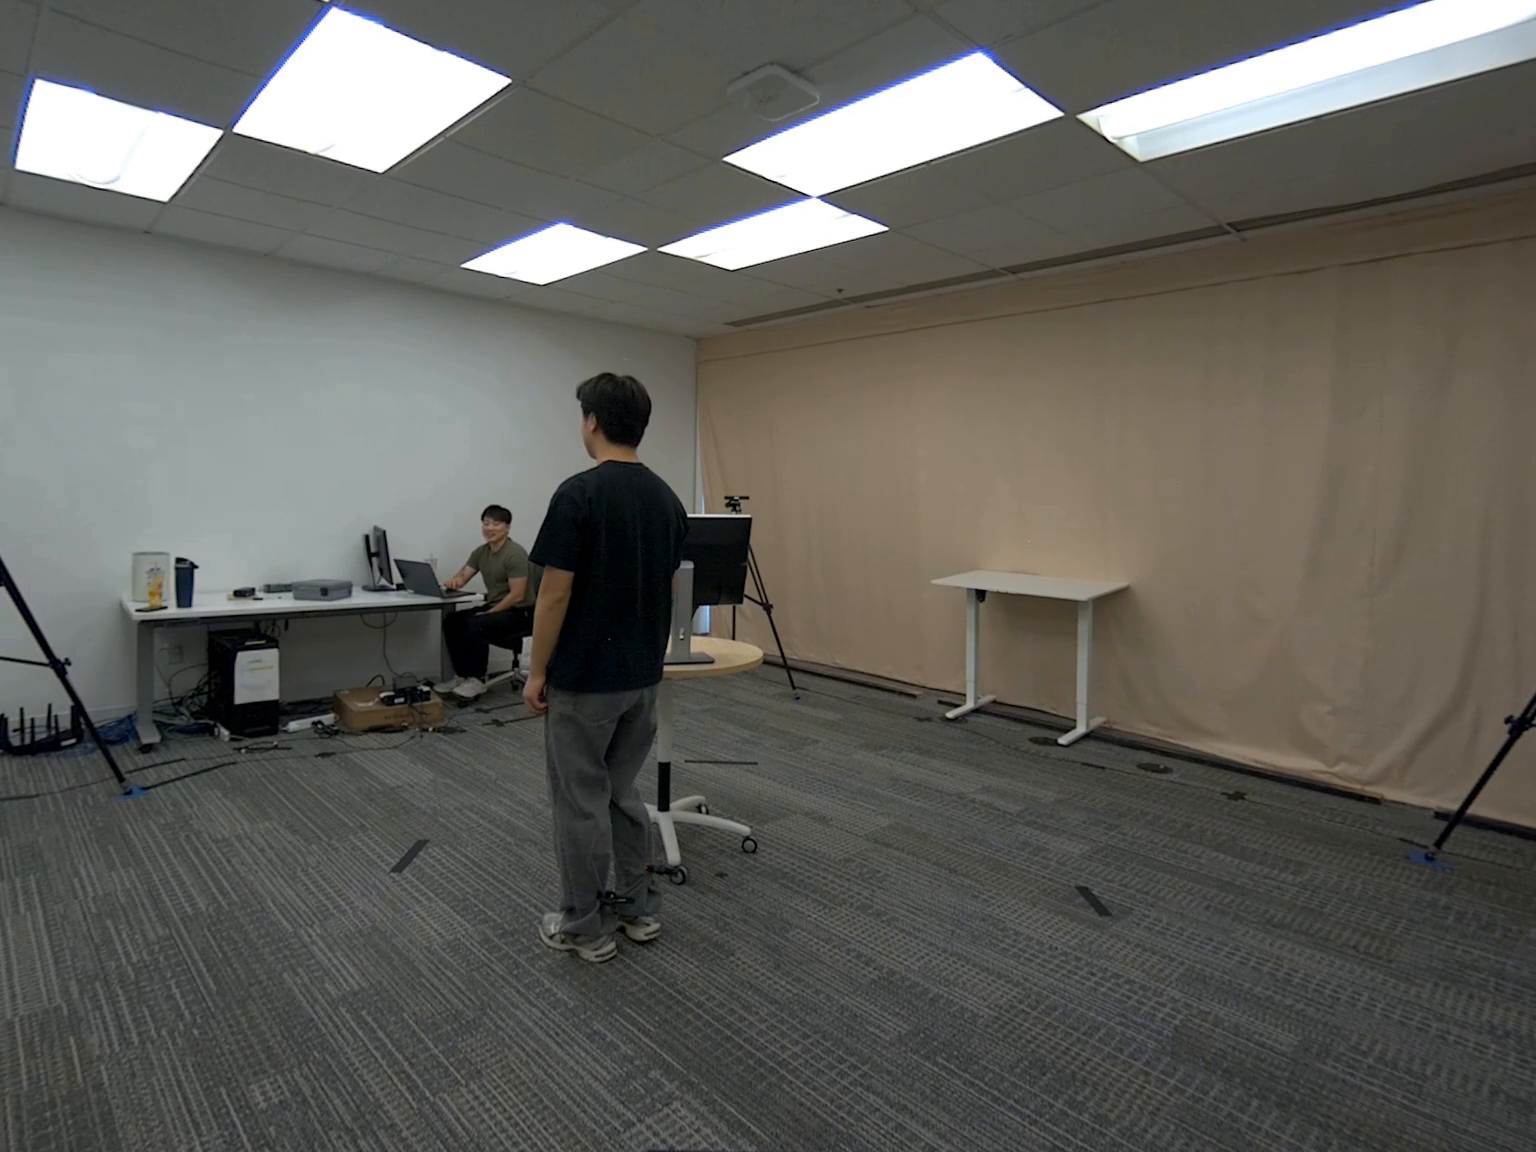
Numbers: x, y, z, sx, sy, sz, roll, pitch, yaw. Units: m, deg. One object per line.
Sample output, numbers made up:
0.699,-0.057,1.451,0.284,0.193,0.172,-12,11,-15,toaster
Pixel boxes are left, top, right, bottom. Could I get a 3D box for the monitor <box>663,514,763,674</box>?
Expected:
-0.330,0.055,3.133,0.555,0.565,0.225,0,3,-16,monitor
